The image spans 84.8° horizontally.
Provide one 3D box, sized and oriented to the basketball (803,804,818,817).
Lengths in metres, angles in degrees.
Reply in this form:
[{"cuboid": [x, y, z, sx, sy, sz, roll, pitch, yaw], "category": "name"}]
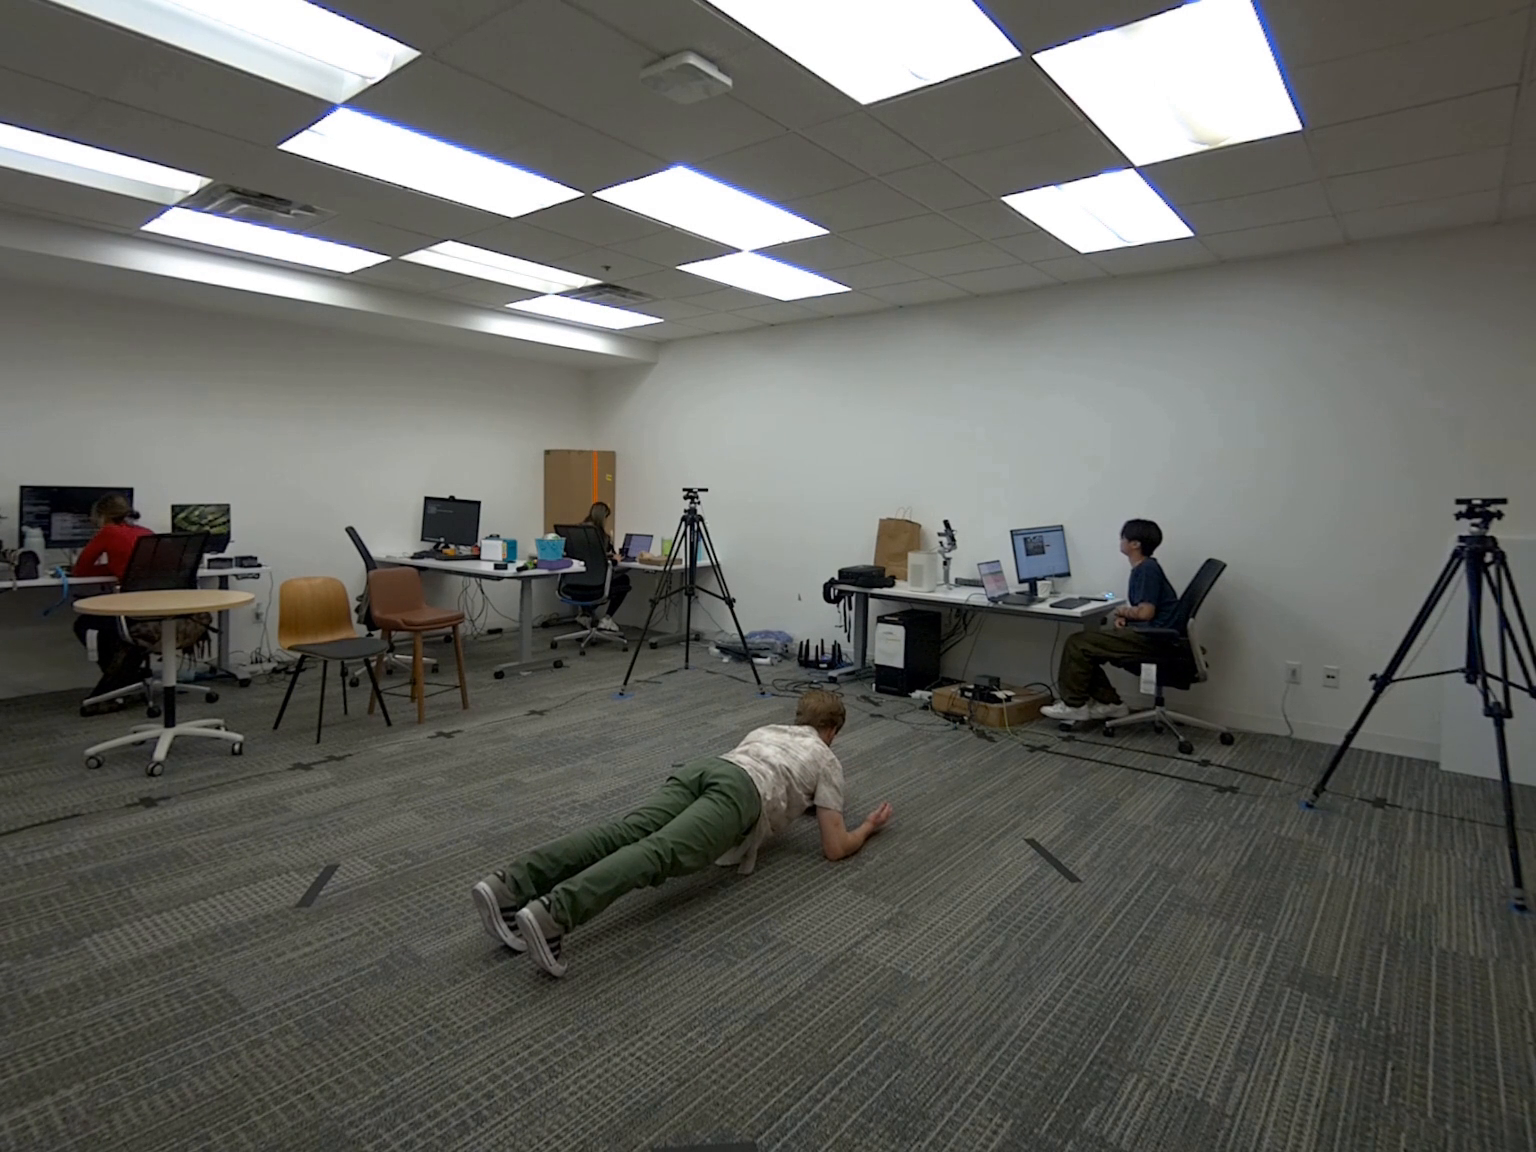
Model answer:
[{"cuboid": [0.188, 0.890, 3.735, 0.235, 0.235, 0.237, 1, 4, -2], "category": "basketball"}]
